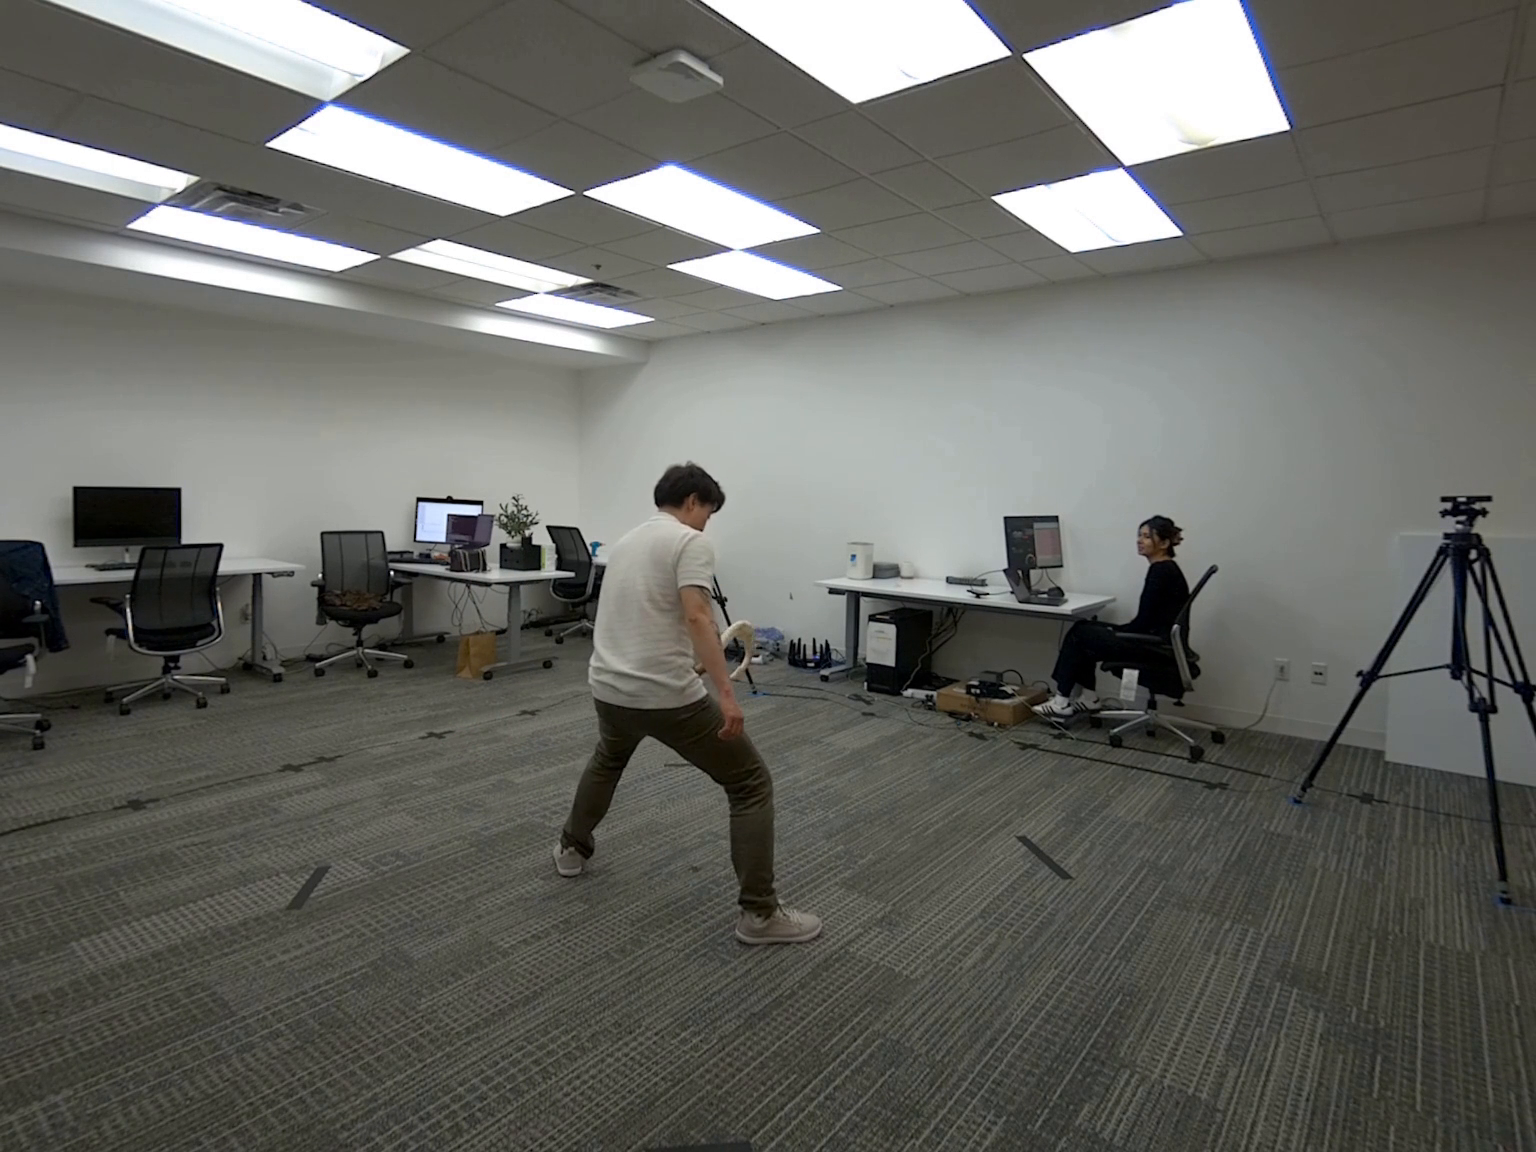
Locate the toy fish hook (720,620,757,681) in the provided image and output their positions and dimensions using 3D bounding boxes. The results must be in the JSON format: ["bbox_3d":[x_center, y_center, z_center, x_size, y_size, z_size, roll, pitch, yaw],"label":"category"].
[{"bbox_3d":[-0.201,0.352,3.310,0.050,0.220,0.501,1,26,40],"label":"toy fish hook"}]
